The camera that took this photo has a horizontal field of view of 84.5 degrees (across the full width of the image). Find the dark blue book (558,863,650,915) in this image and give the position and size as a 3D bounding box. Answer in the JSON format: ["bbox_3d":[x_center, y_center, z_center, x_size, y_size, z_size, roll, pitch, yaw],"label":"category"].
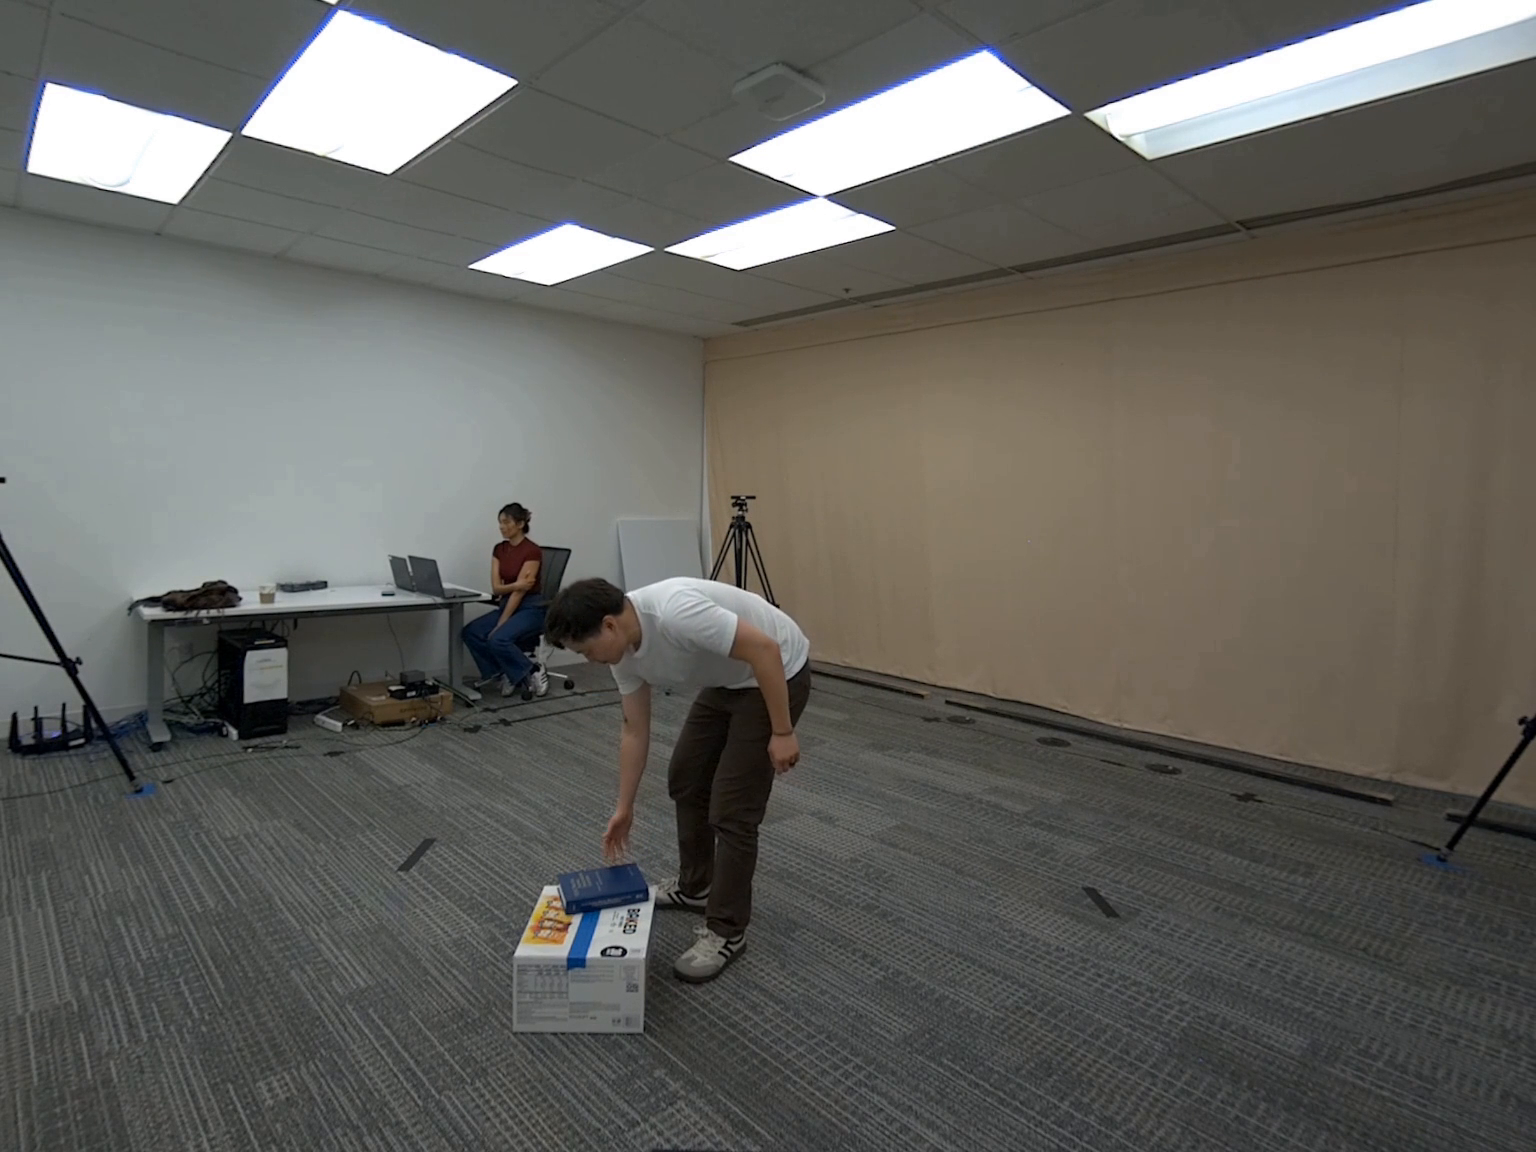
[{"bbox_3d":[-0.500,0.927,2.497,0.241,0.045,0.167,-2,8,-21],"label":"dark blue book"}]
